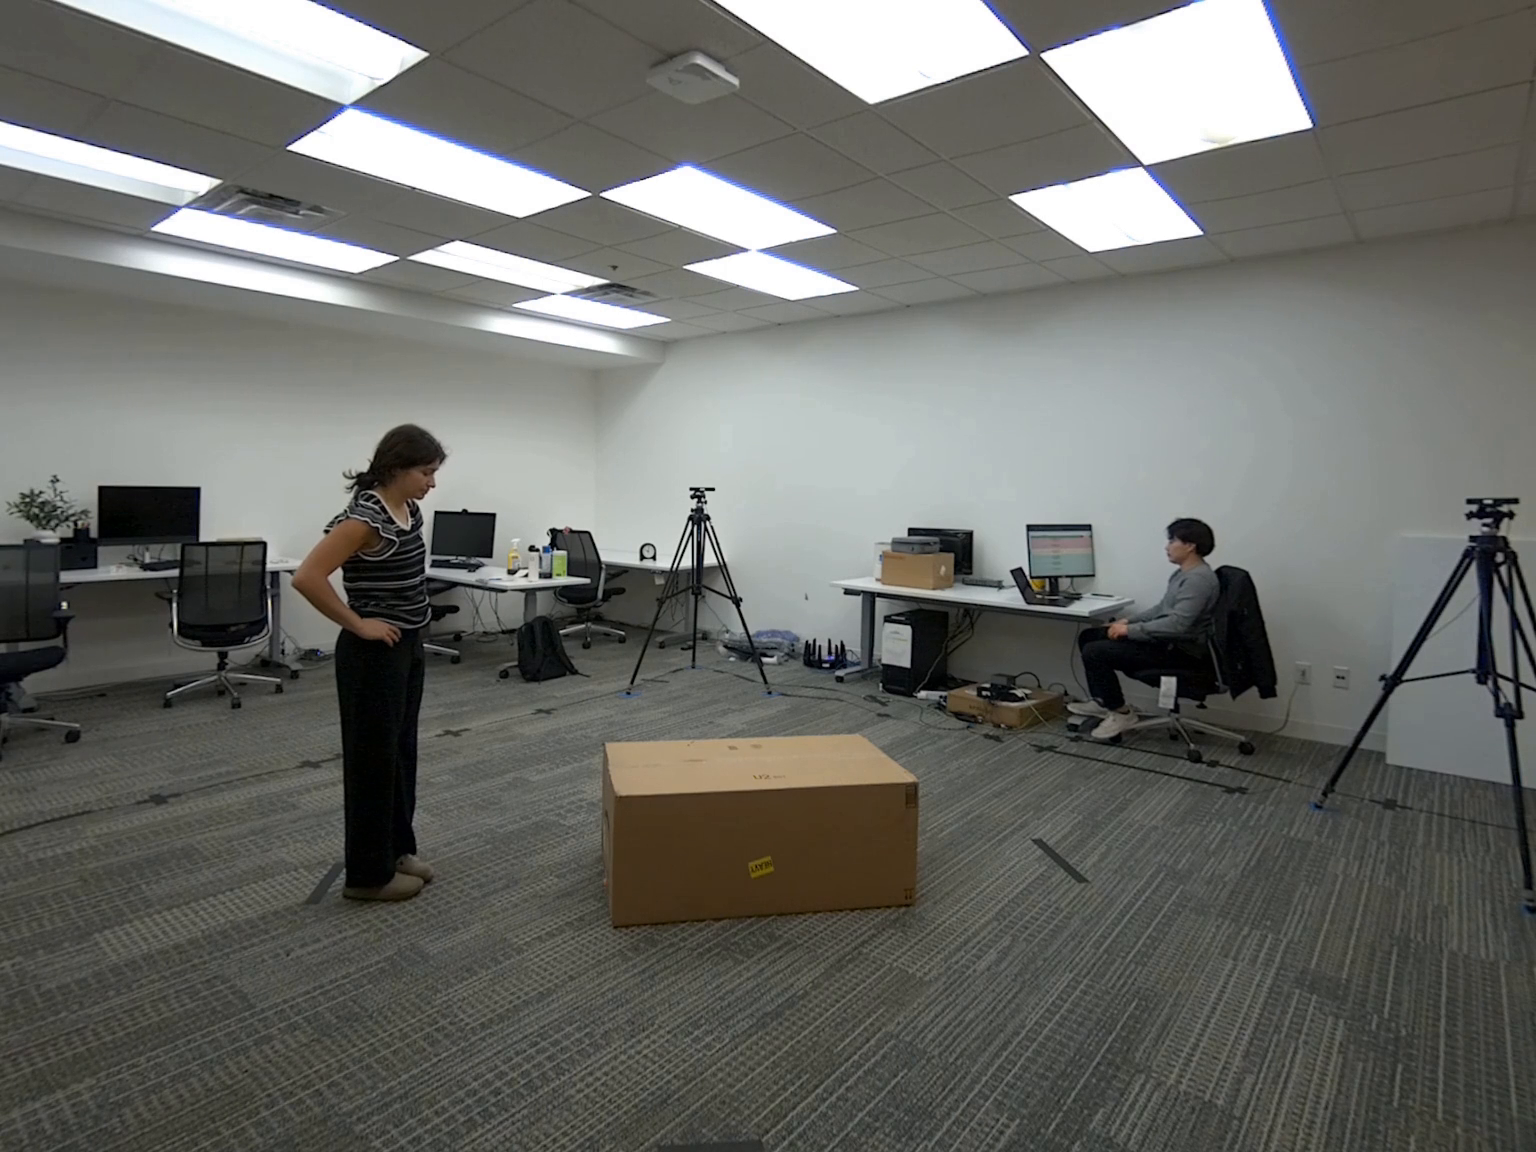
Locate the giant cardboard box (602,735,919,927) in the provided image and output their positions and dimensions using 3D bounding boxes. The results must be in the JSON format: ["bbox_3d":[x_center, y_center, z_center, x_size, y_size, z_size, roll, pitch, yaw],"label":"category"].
[{"bbox_3d":[-0.070,0.865,3.032,1.013,0.425,0.587,0,4,-12],"label":"giant cardboard box"}]
